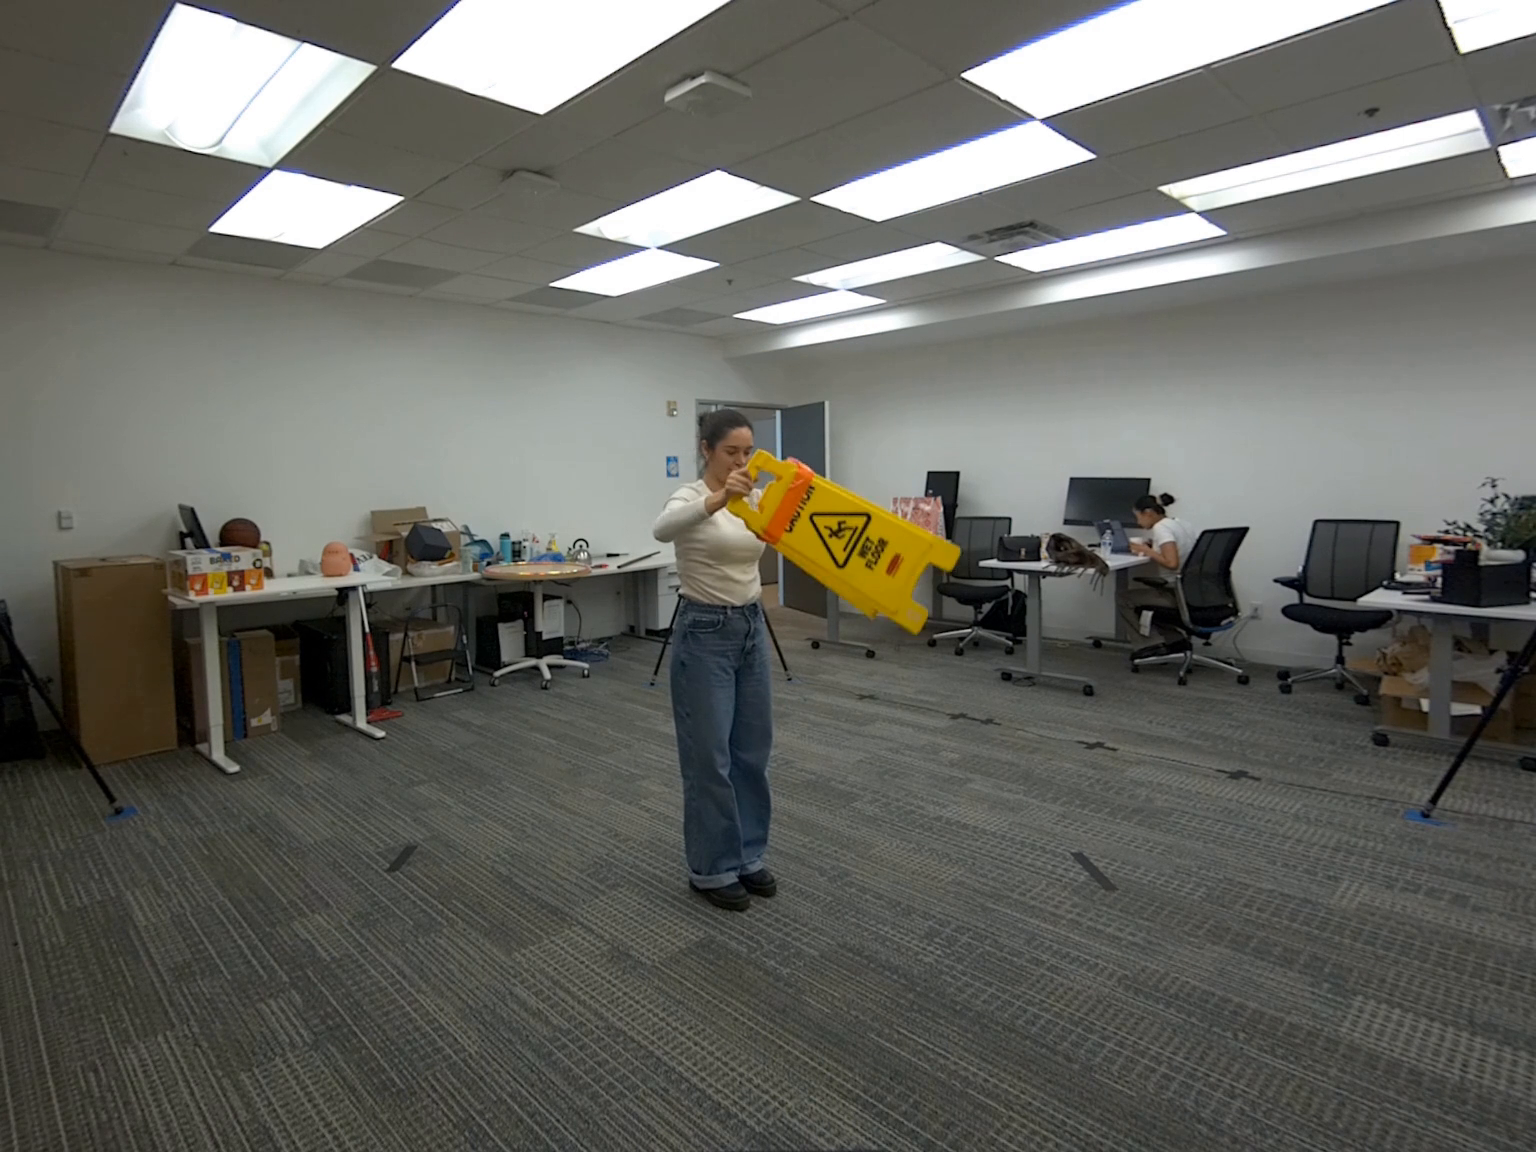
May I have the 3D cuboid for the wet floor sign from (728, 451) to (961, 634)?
[{"bbox_3d":[0.184,-0.112,2.475,0.631,0.282,0.296,31,-5,-19],"label":"wet floor sign"}]
